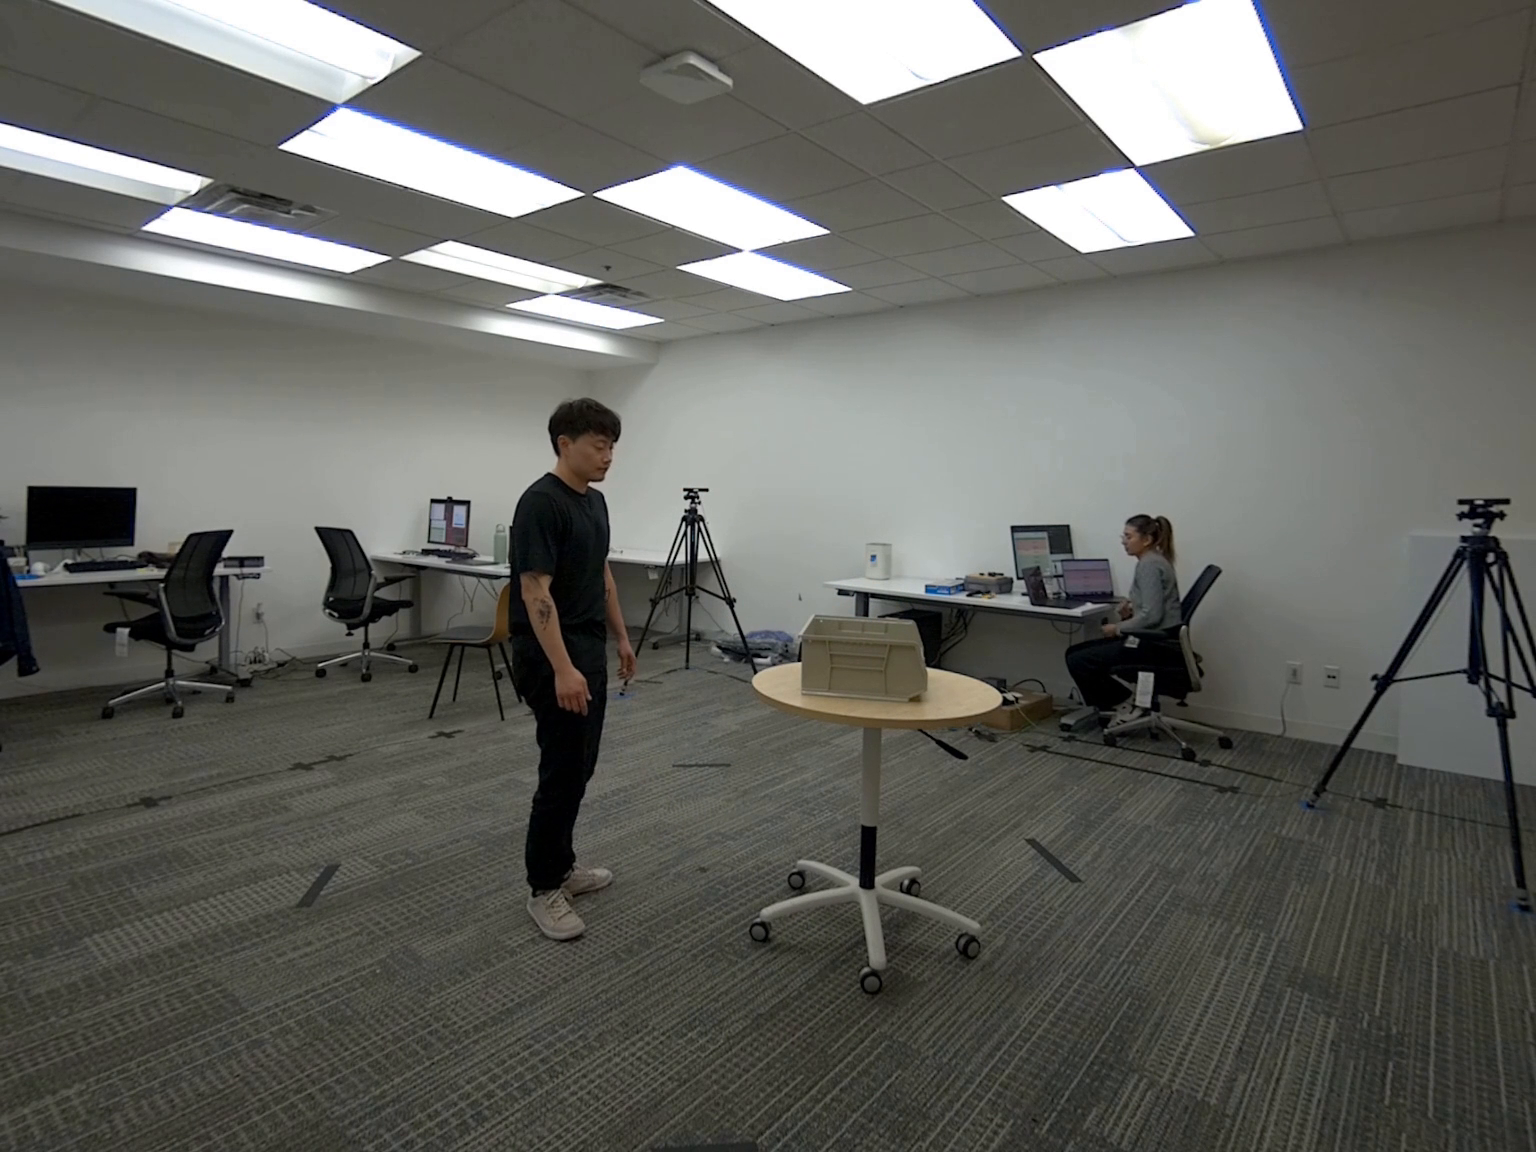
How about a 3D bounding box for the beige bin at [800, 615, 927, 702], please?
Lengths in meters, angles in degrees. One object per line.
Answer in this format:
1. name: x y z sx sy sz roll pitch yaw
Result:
1. beige bin: 0.298 0.255 2.681 0.382 0.188 0.419 2 6 9
